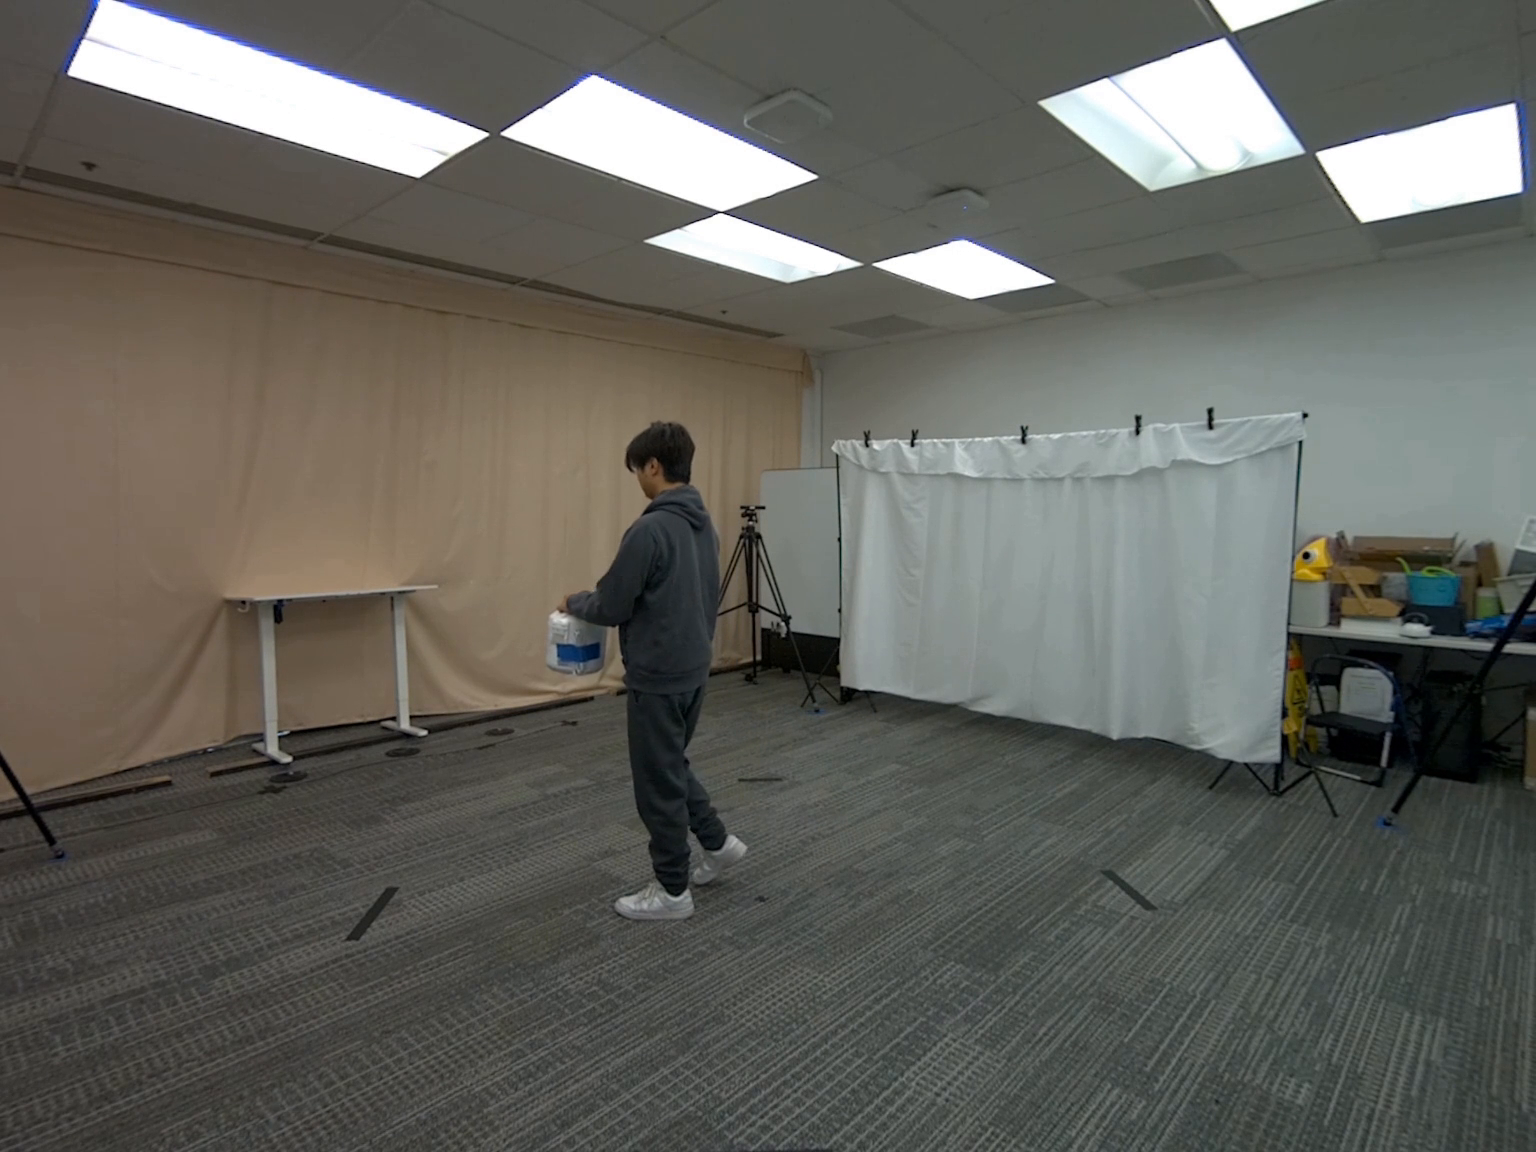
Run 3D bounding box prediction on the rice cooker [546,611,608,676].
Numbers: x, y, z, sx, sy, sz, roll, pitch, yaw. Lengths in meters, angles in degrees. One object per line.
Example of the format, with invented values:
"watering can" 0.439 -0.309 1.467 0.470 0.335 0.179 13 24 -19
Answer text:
"rice cooker" -0.676 0.224 2.986 0.223 0.232 0.215 8 4 25
